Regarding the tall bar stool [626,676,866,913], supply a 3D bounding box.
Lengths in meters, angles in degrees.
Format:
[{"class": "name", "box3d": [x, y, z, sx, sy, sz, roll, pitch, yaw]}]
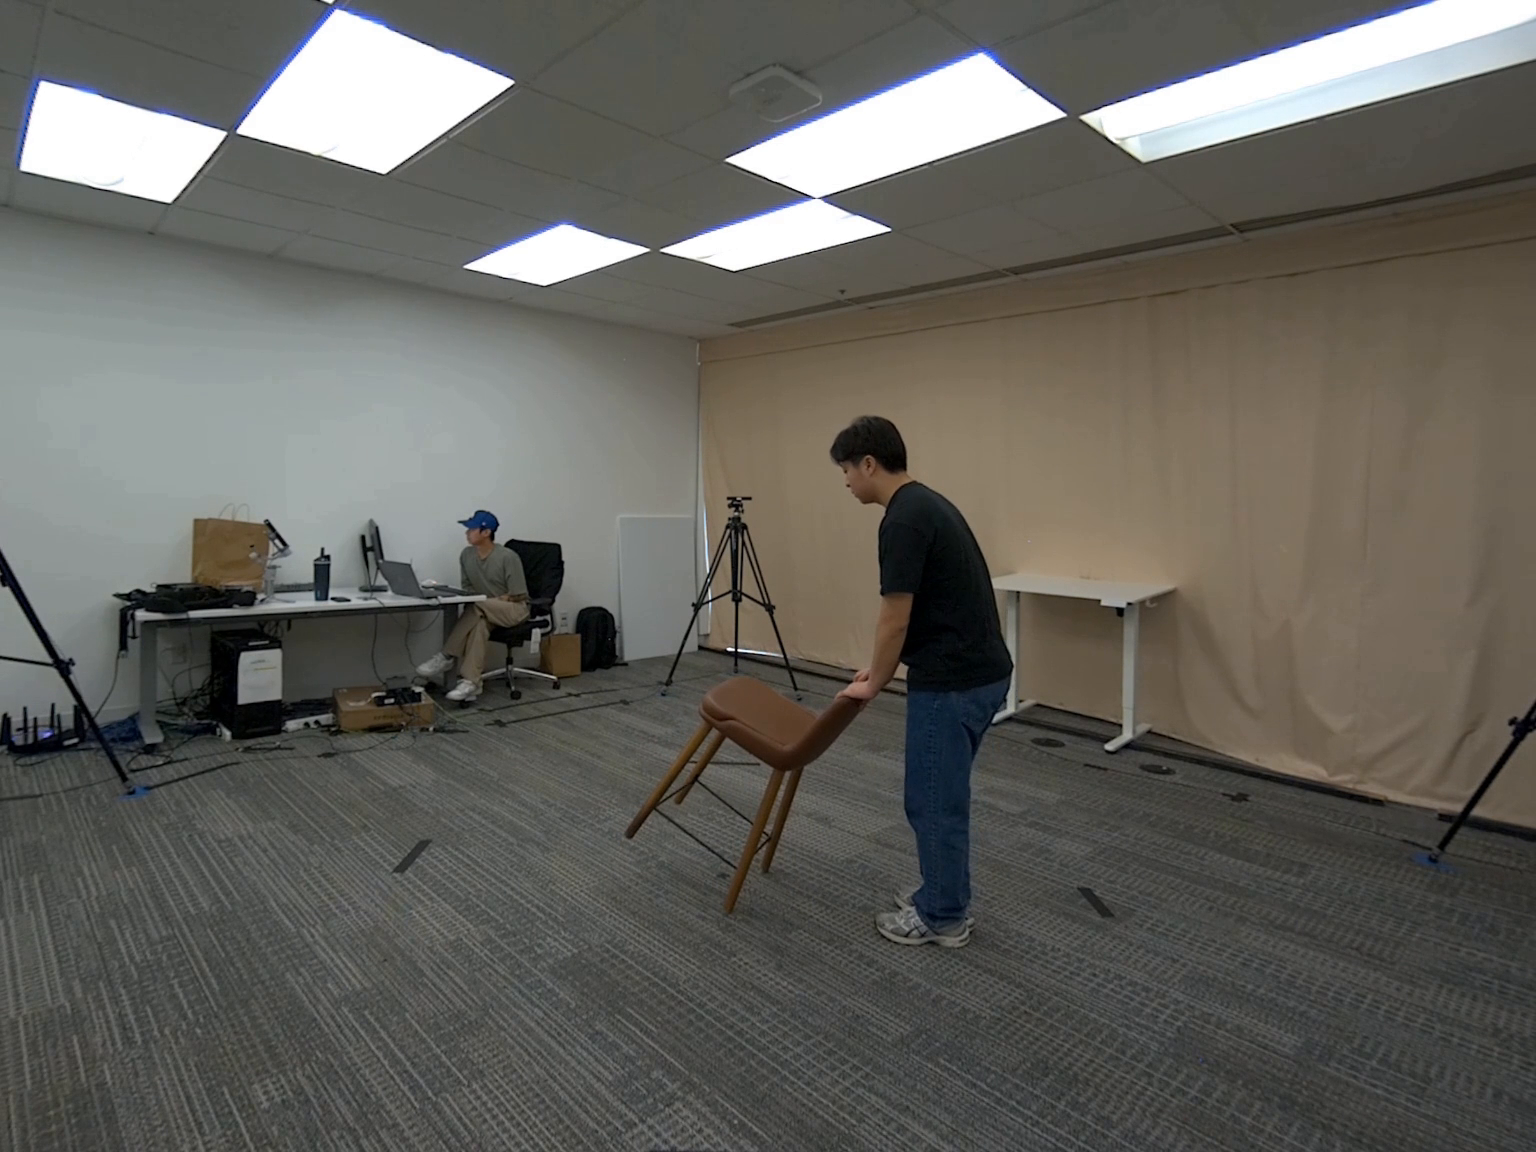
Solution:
[{"class": "tall bar stool", "box3d": [-0.054, 0.642, 2.960, 0.477, 0.886, 0.449, 33, 15, 18]}]
